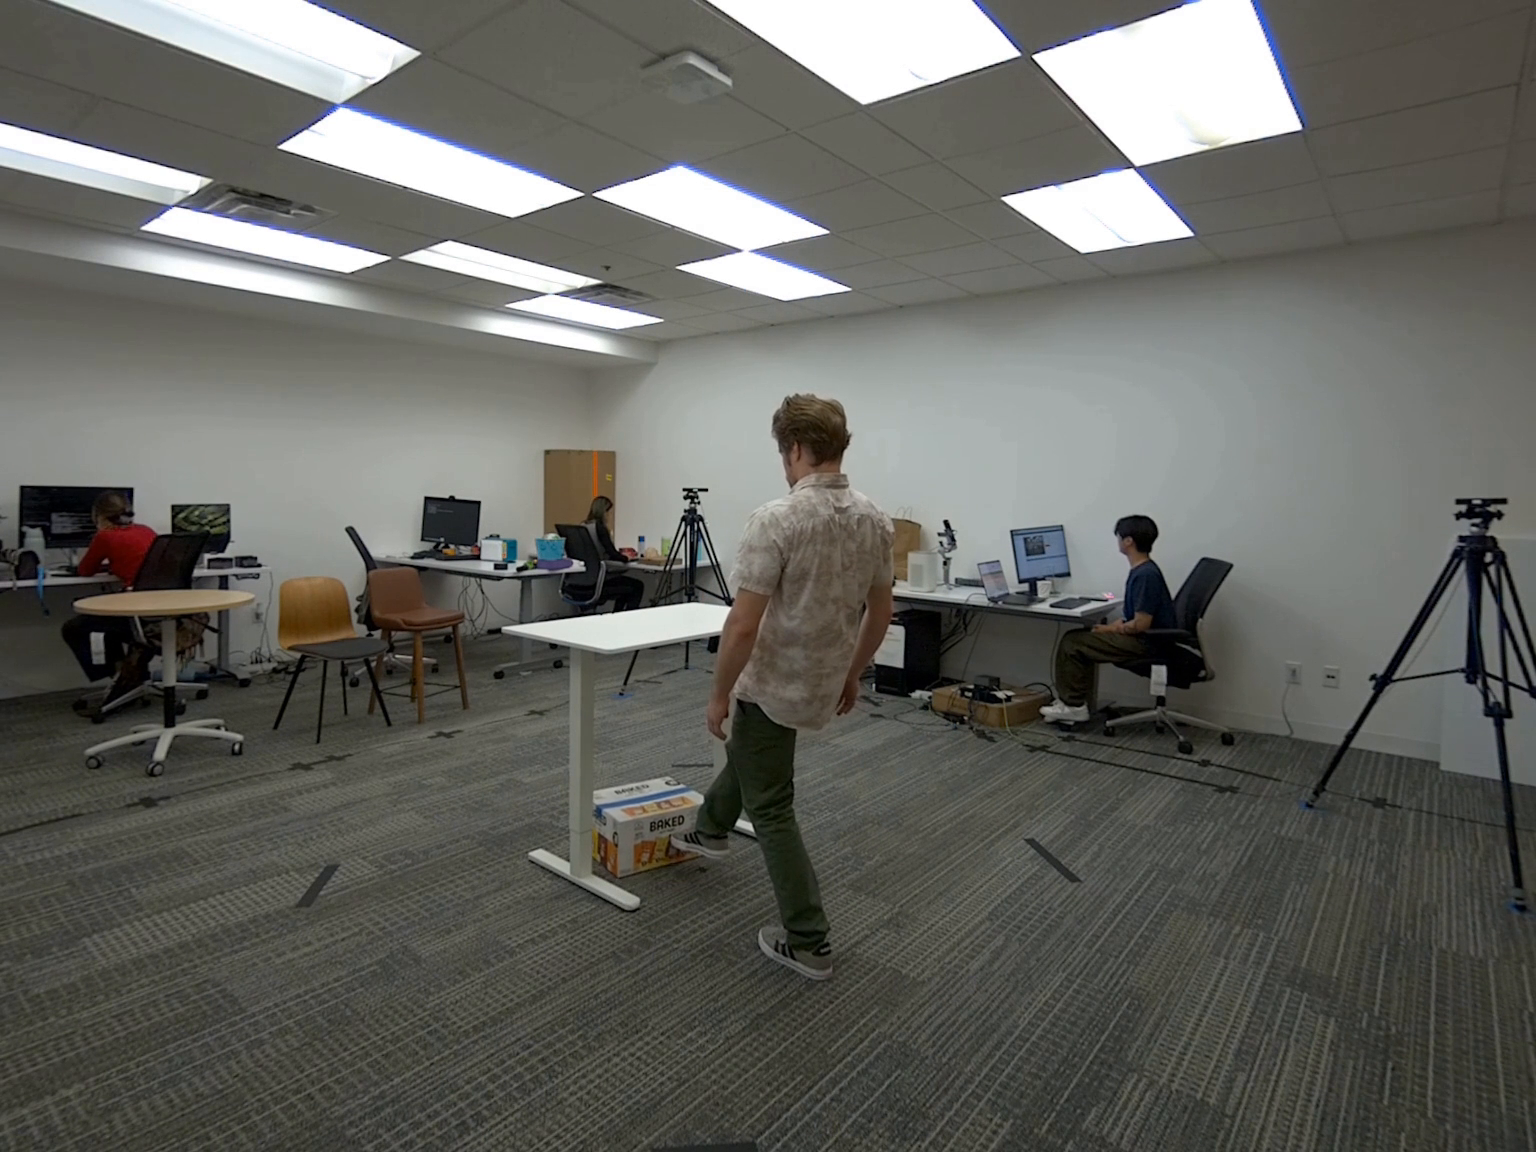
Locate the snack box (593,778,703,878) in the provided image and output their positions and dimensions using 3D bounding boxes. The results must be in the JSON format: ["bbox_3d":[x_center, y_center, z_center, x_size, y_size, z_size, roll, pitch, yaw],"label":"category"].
[{"bbox_3d":[-0.482,0.949,3.264,0.393,0.205,0.351,-3,6,-36],"label":"snack box"}]
